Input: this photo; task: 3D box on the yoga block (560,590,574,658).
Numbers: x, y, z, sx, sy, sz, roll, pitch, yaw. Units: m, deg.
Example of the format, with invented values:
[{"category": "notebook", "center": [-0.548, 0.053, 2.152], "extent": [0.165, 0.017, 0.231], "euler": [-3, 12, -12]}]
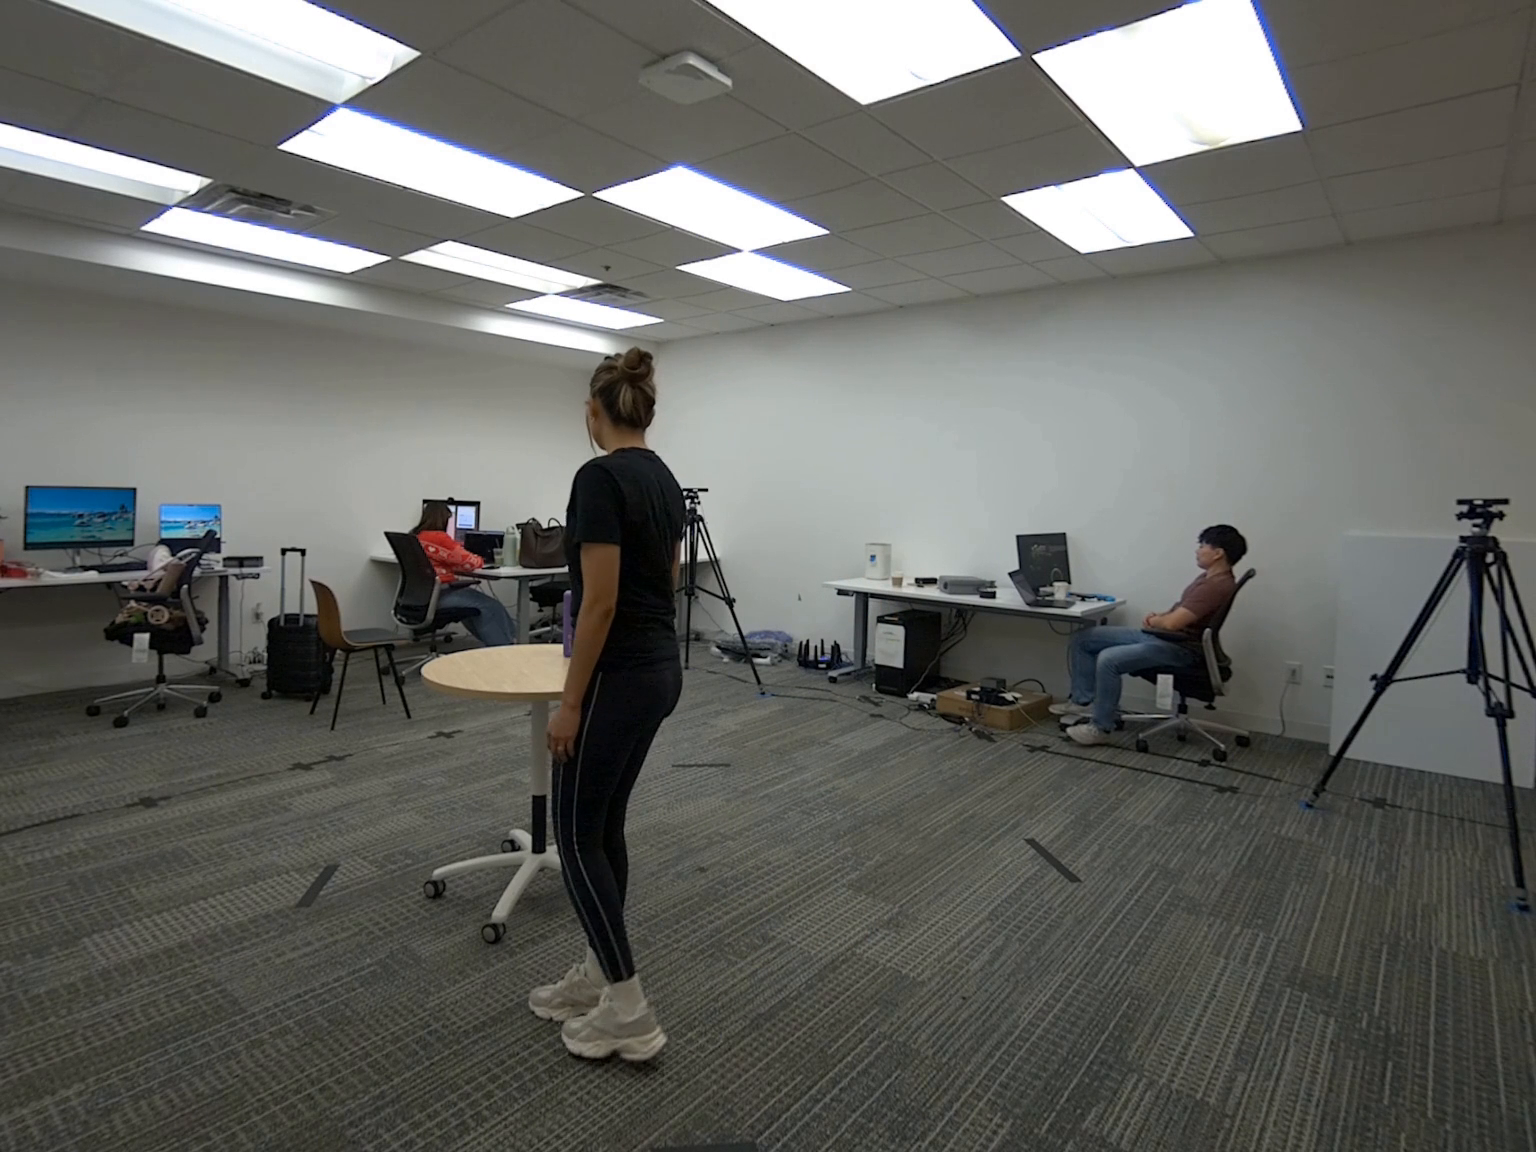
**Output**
[{"category": "yoga block", "center": [-0.665, 0.170, 3.043], "extent": [0.148, 0.229, 0.077], "euler": [8, 1, -4]}]
